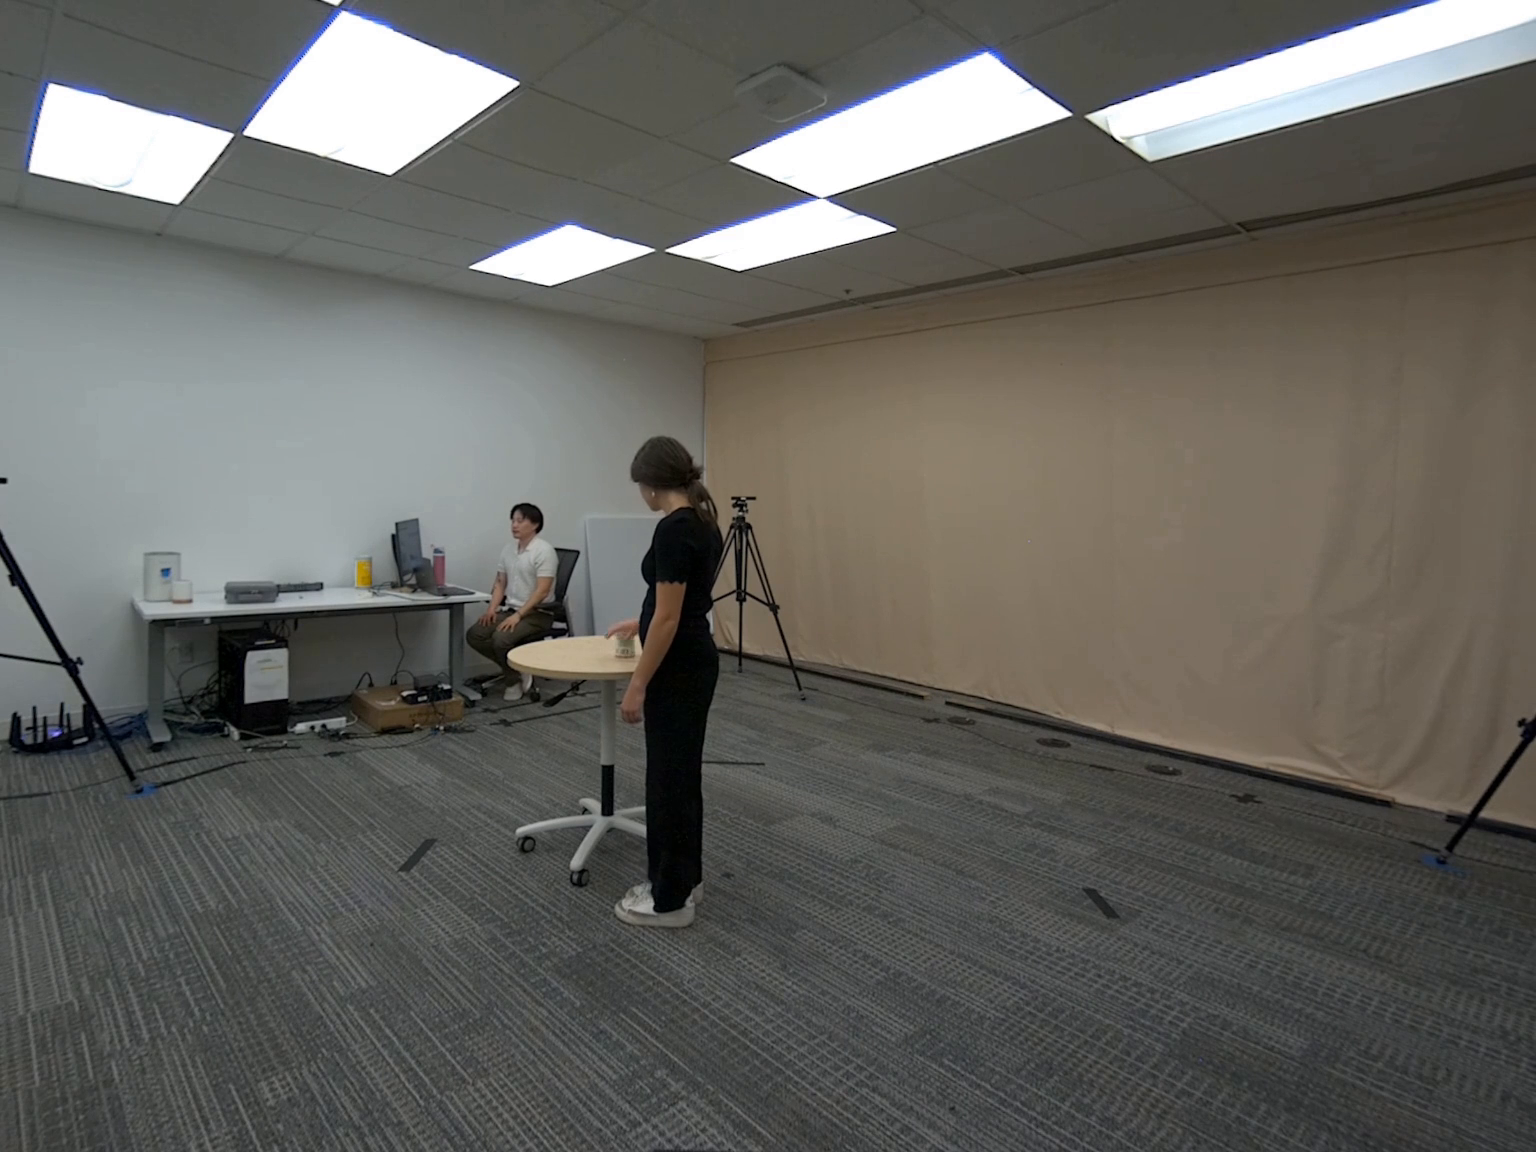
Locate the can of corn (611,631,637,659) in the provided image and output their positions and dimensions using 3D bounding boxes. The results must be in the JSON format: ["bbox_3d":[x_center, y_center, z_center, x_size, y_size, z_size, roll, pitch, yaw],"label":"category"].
[{"bbox_3d":[-0.551,0.250,3.174,0.074,0.111,0.074,1,4,-1],"label":"can of corn"}]
